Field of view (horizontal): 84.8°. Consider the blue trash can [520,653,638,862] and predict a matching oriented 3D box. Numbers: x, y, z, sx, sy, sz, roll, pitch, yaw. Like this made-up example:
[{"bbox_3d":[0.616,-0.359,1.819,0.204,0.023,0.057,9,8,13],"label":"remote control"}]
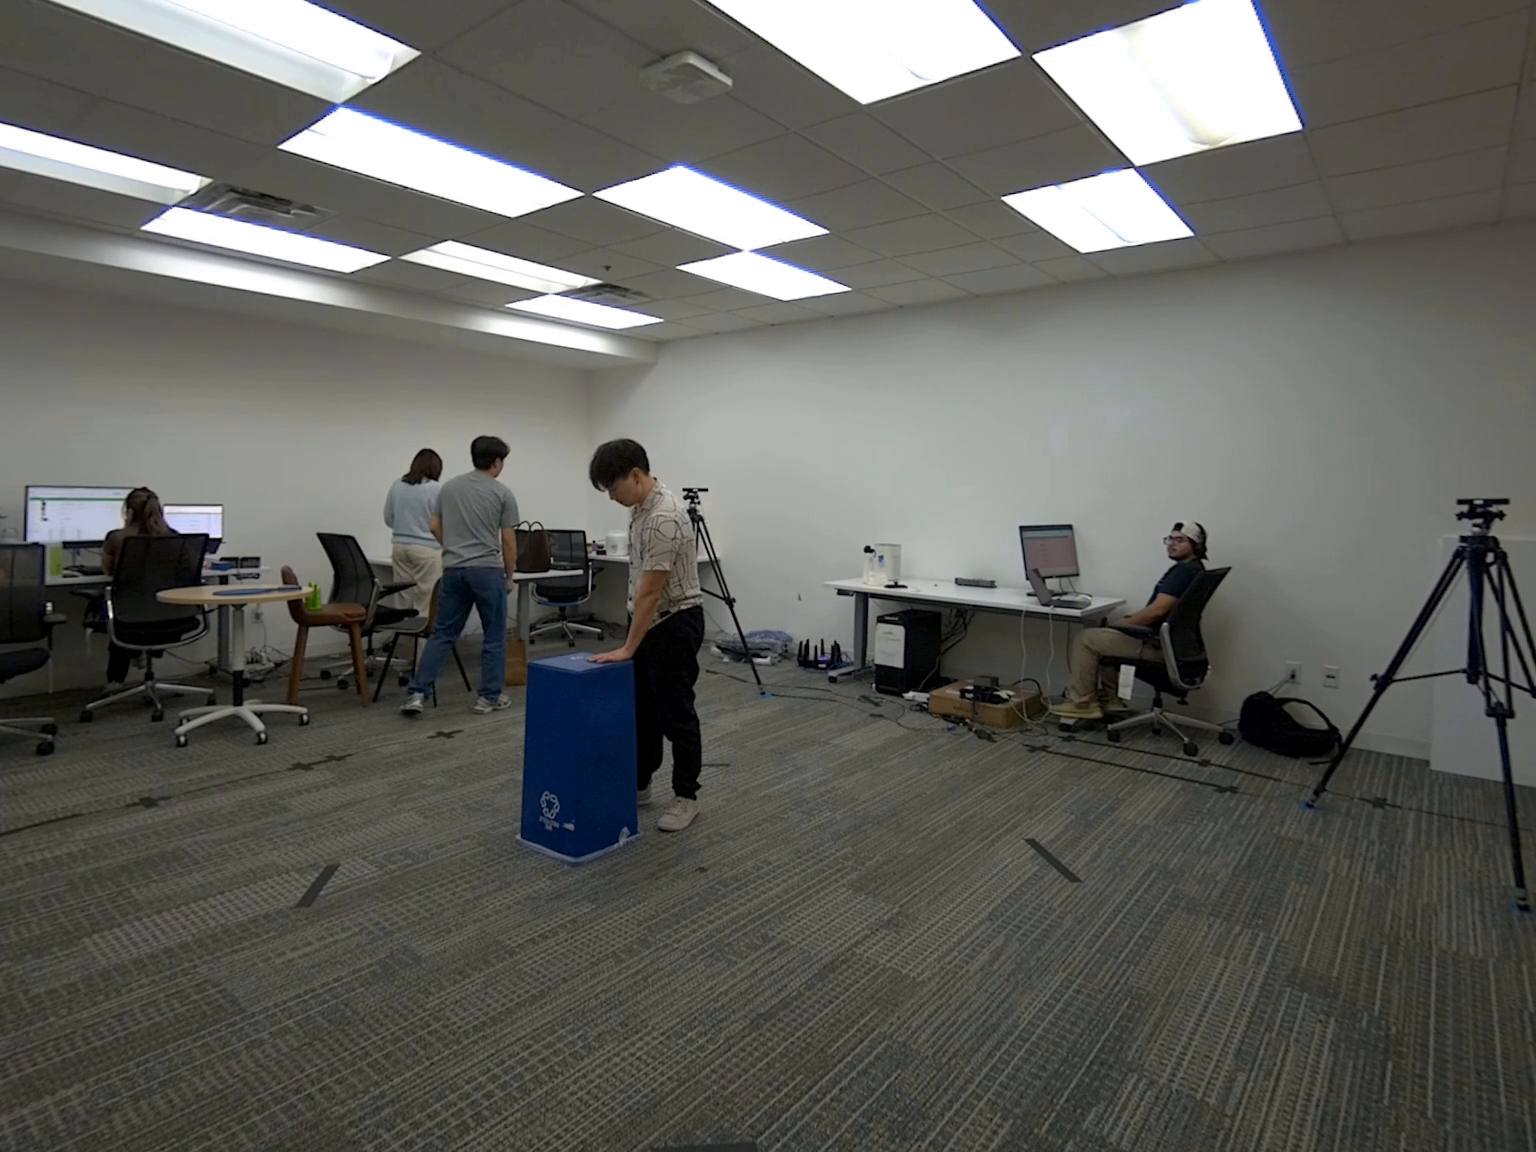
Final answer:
[{"bbox_3d":[-0.753,0.683,3.352,0.386,0.712,0.367,2,2,37],"label":"blue trash can"}]
